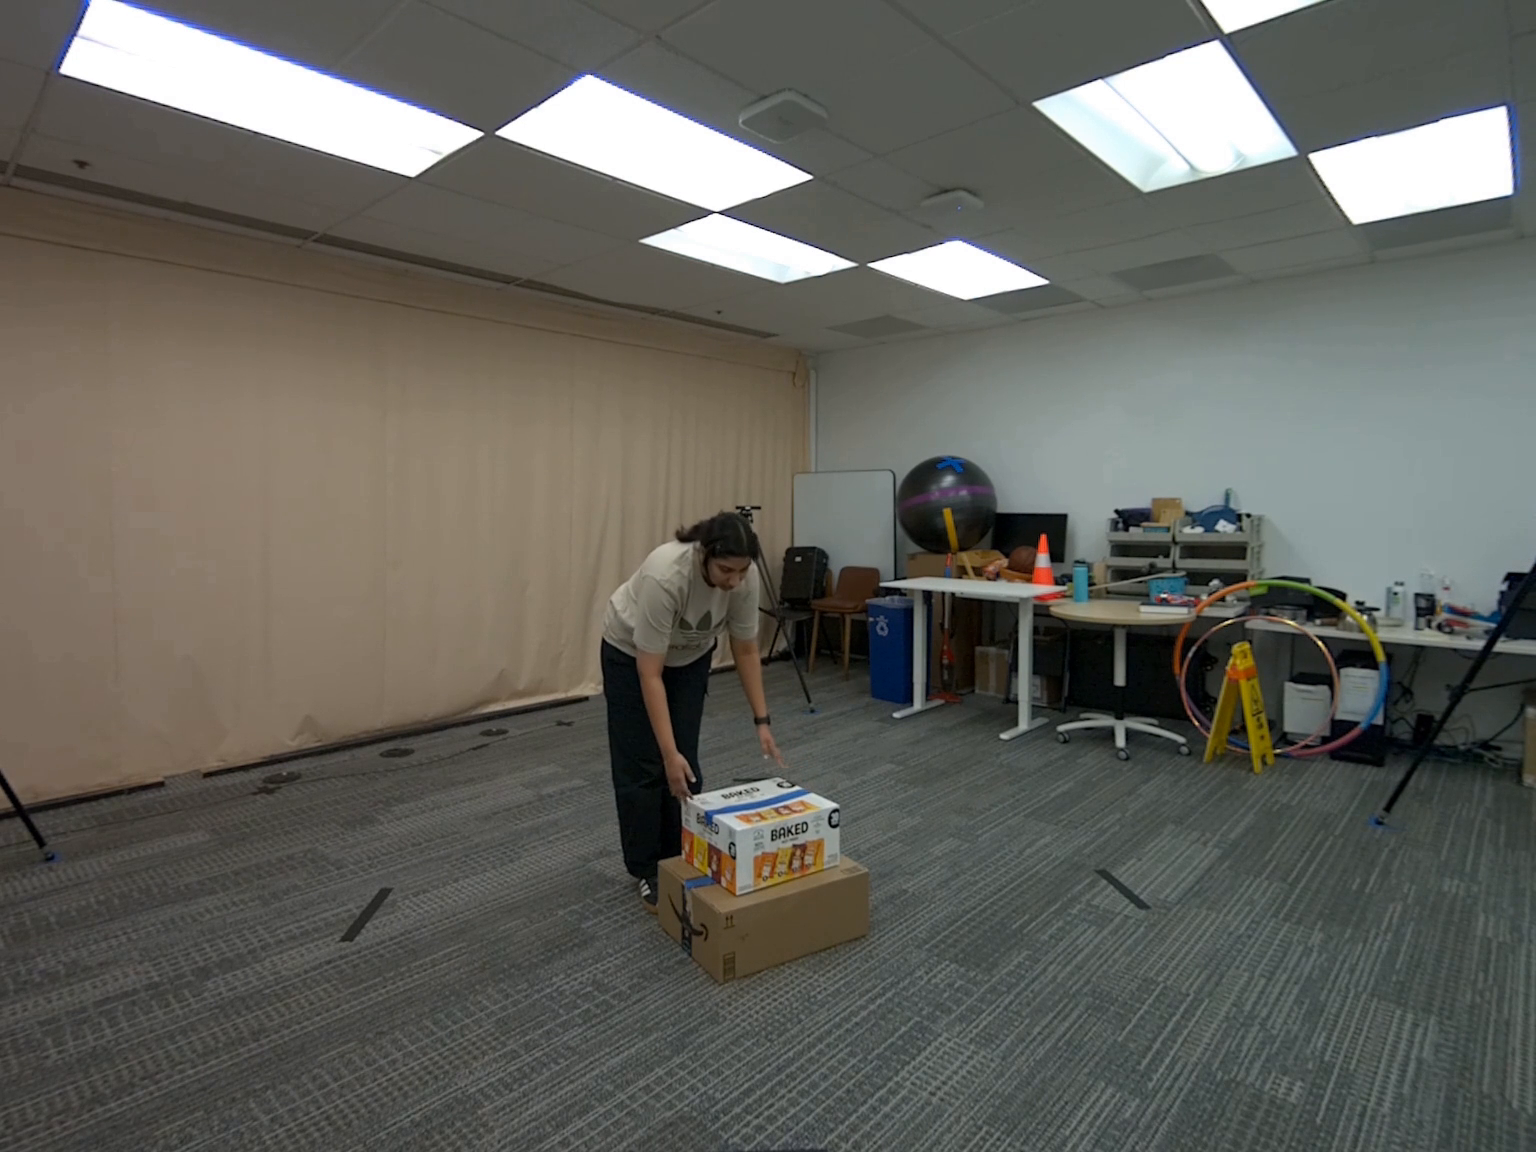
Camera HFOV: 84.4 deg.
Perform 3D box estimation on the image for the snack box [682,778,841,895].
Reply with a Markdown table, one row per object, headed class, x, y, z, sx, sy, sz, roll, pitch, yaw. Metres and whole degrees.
| class | x | y | z | sx | sy | sz | roll | pitch | yaw |
| --- | --- | --- | --- | --- | --- | --- | --- | --- | --- |
| snack box | -0.023 | 0.846 | 2.781 | 0.394 | 0.205 | 0.351 | -3 | 5 | -34 |
